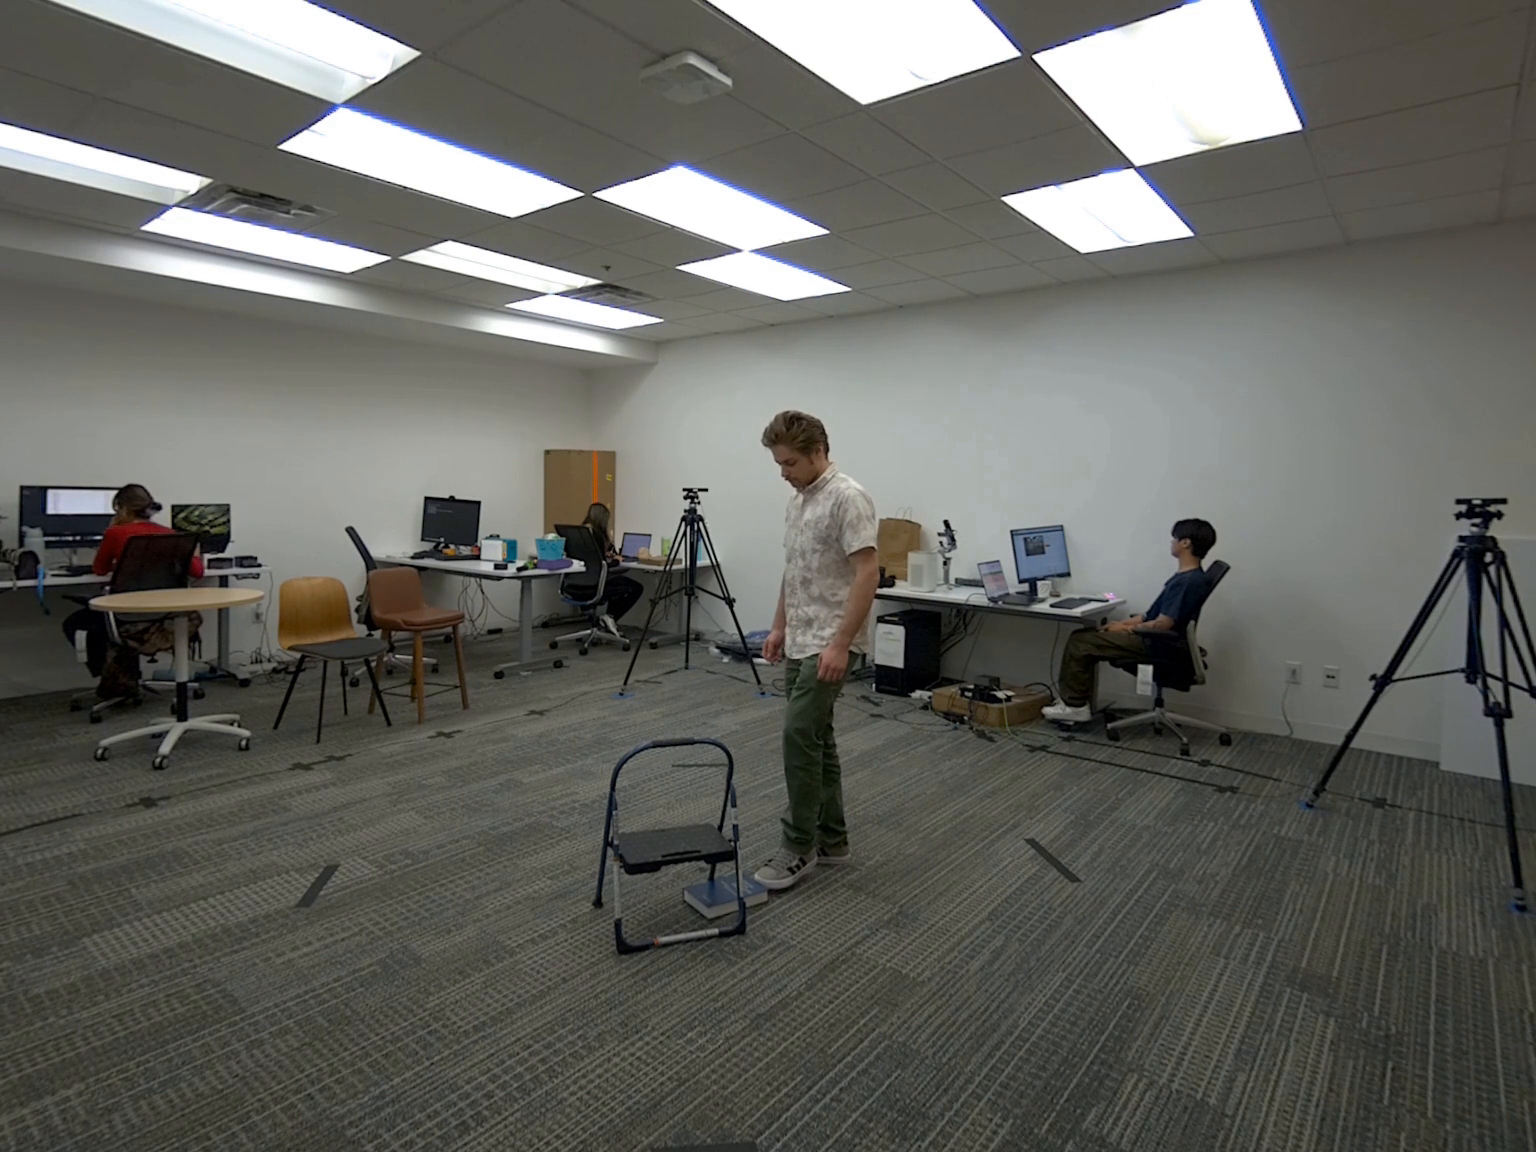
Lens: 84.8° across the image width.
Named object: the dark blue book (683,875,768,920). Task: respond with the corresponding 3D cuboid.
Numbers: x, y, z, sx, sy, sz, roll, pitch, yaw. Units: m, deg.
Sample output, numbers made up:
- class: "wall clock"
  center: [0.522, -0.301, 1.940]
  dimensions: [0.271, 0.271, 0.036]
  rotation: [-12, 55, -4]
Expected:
- class: "dark blue book"
  center: [-0.147, 1.073, 2.863]
  dimensions: [0.238, 0.045, 0.169]
  rotation: [-3, 7, -35]
